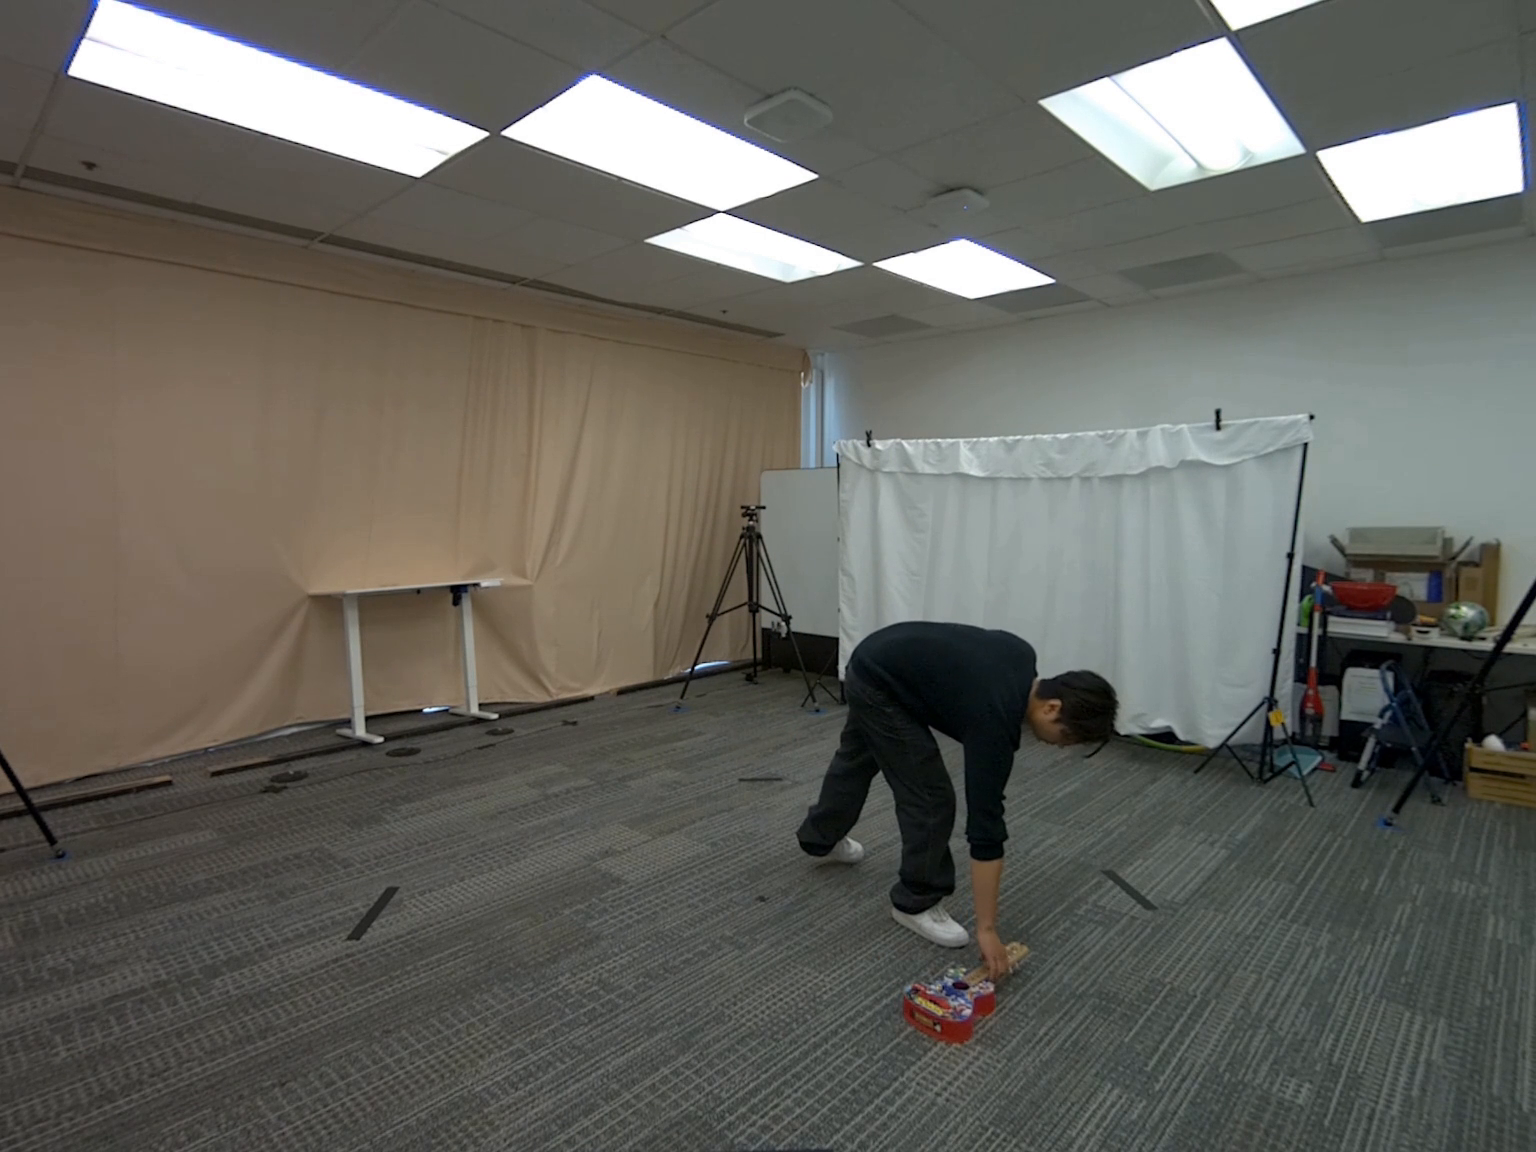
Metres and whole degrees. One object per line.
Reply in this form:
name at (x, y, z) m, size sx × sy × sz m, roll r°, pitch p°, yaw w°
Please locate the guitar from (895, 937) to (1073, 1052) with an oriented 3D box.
guitar at (0.607, 1.153, 2.366) m, size 0.484 × 0.070 × 0.199 m, roll -4°, pitch 6°, yaw -33°
